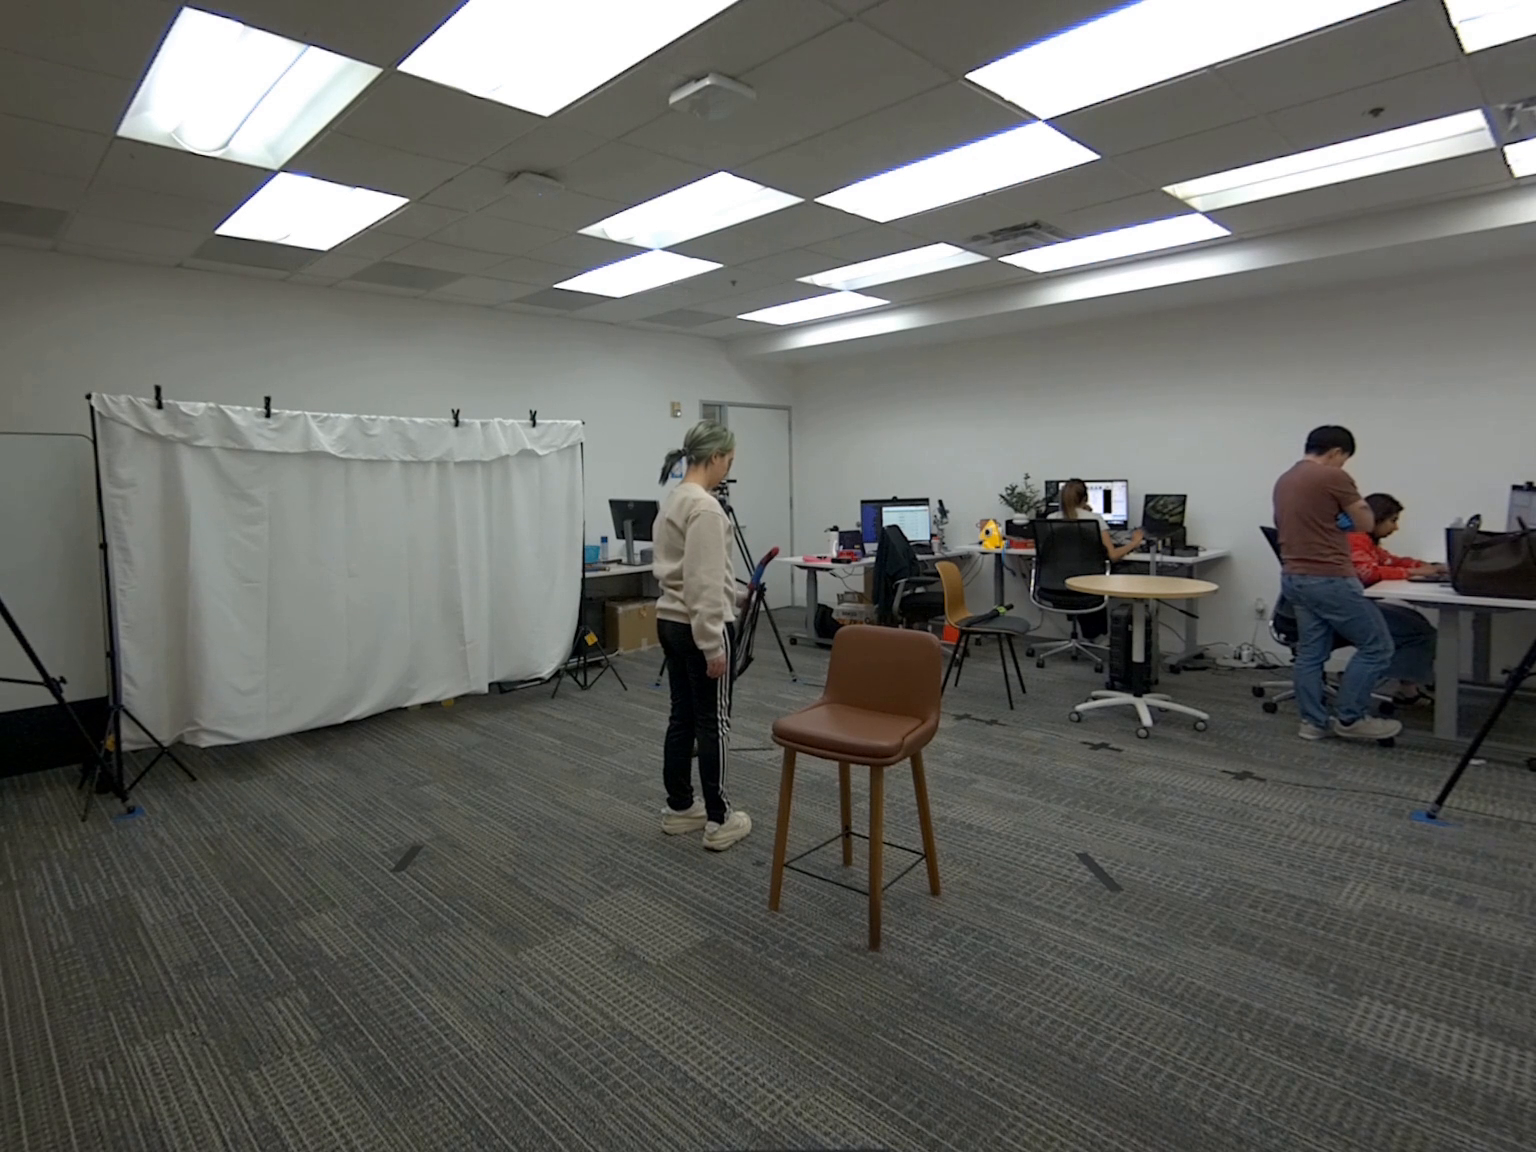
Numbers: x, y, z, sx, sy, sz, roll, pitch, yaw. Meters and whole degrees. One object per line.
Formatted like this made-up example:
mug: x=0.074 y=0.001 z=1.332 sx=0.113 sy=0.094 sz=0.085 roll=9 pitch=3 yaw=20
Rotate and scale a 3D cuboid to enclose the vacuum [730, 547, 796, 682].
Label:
vacuum: x=-0.135 y=0.347 z=3.663 sx=0.245 sy=1.039 sz=0.150 roll=5 pitch=26 yaw=-37
